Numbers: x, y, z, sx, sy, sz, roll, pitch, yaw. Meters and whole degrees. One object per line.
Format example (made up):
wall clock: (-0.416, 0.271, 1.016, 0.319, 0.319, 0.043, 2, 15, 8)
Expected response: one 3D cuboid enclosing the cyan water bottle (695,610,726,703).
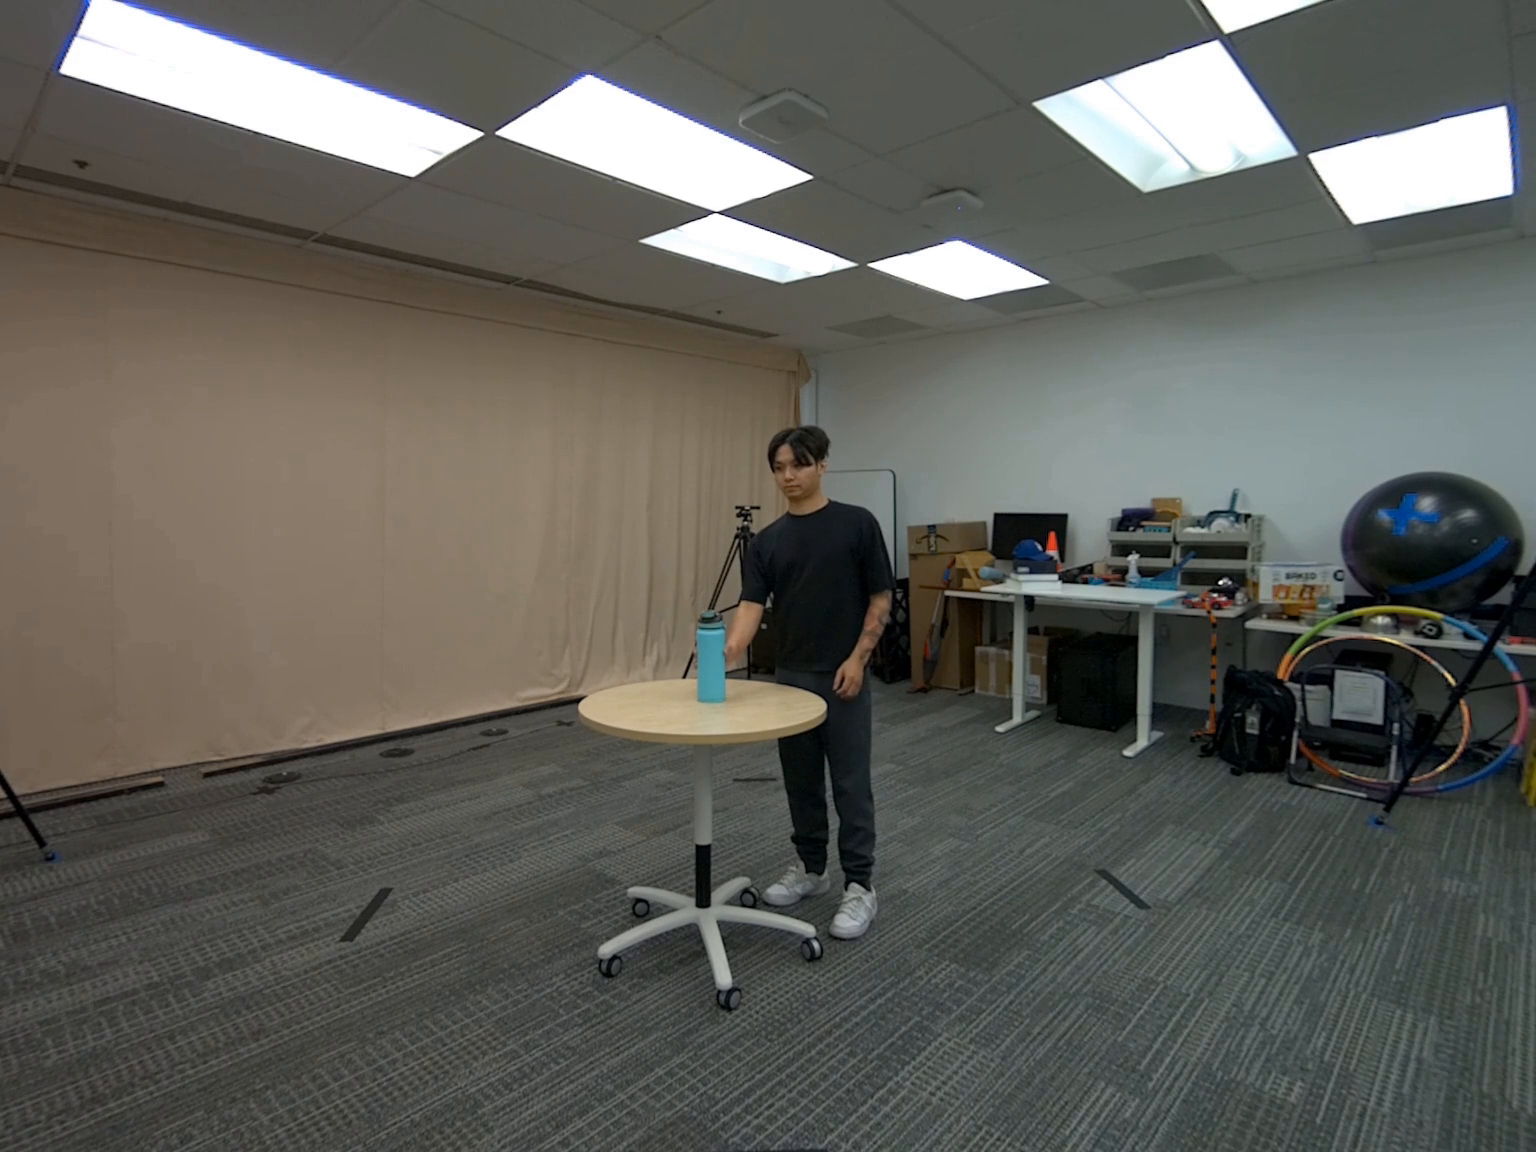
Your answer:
cyan water bottle: (-0.176, 0.251, 2.641, 0.092, 0.283, 0.092, 0, 3, -2)
